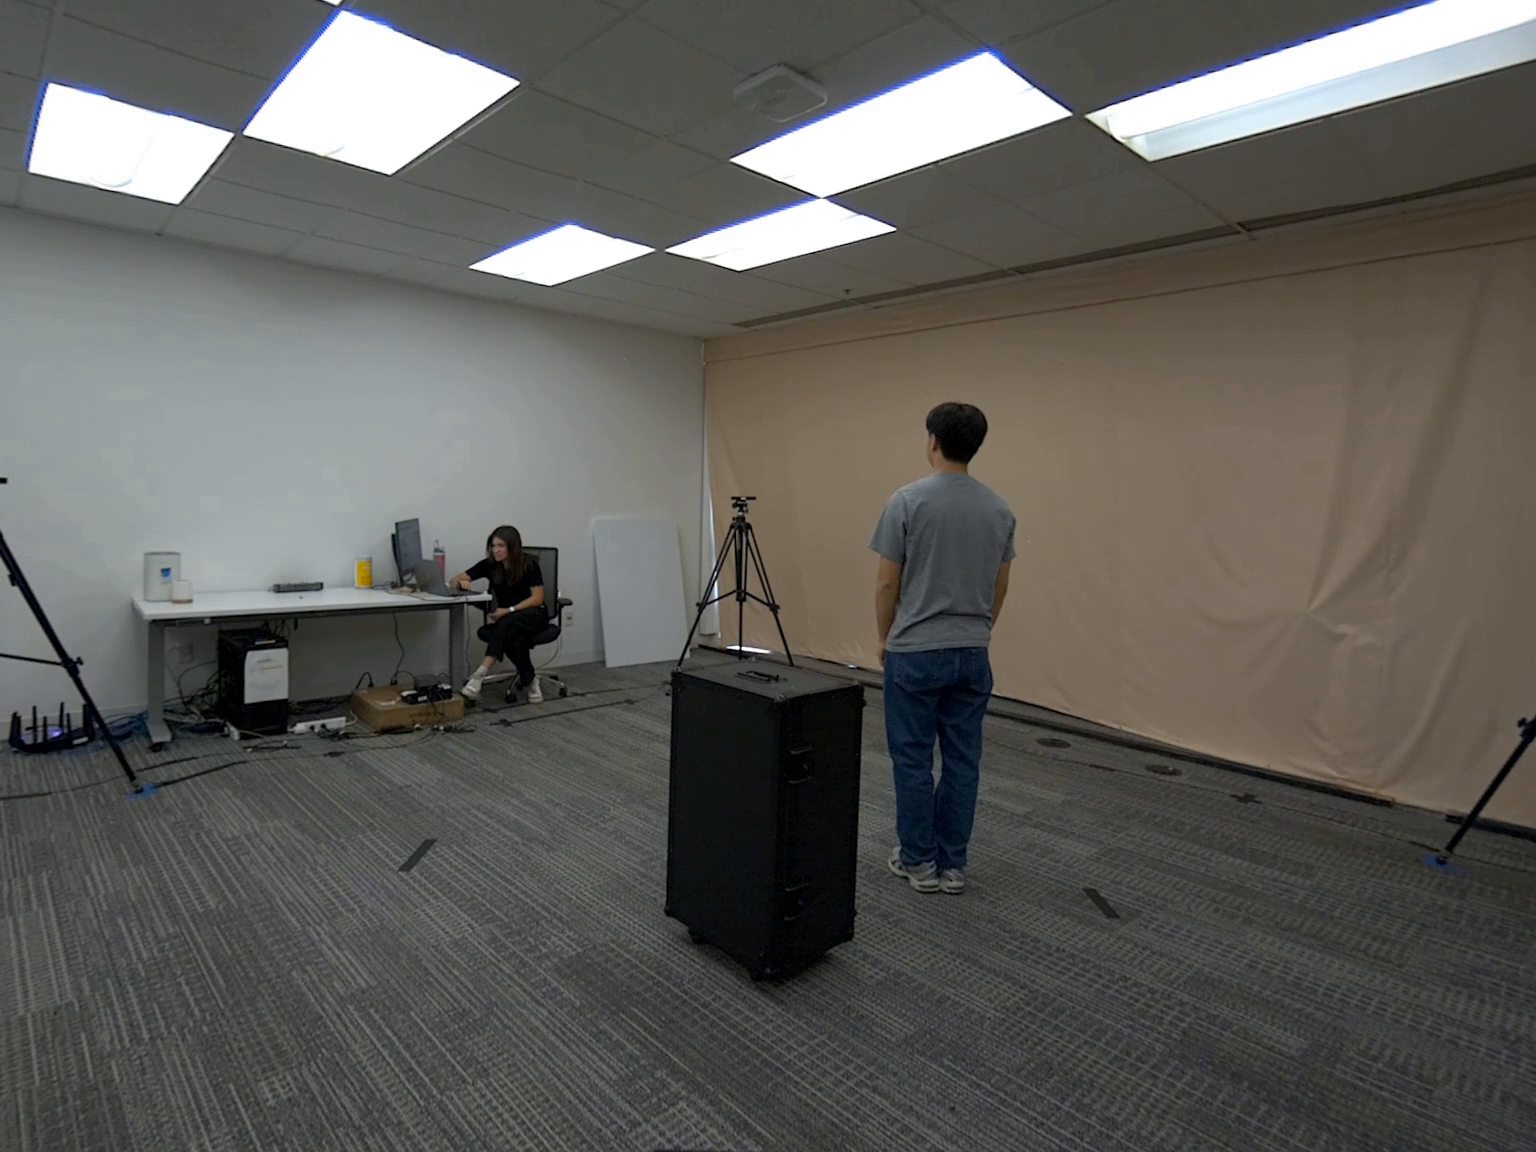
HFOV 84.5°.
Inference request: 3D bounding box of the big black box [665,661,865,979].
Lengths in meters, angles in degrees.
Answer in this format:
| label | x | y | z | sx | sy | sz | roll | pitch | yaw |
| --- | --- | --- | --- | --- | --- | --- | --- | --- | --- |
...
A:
| label | x | y | z | sx | sy | sz | roll | pitch | yaw |
| --- | --- | --- | --- | --- | --- | --- | --- | --- | --- |
| big black box | -0.019 | 0.731 | 2.593 | 0.387 | 0.860 | 0.535 | 0 | 4 | -44 |
